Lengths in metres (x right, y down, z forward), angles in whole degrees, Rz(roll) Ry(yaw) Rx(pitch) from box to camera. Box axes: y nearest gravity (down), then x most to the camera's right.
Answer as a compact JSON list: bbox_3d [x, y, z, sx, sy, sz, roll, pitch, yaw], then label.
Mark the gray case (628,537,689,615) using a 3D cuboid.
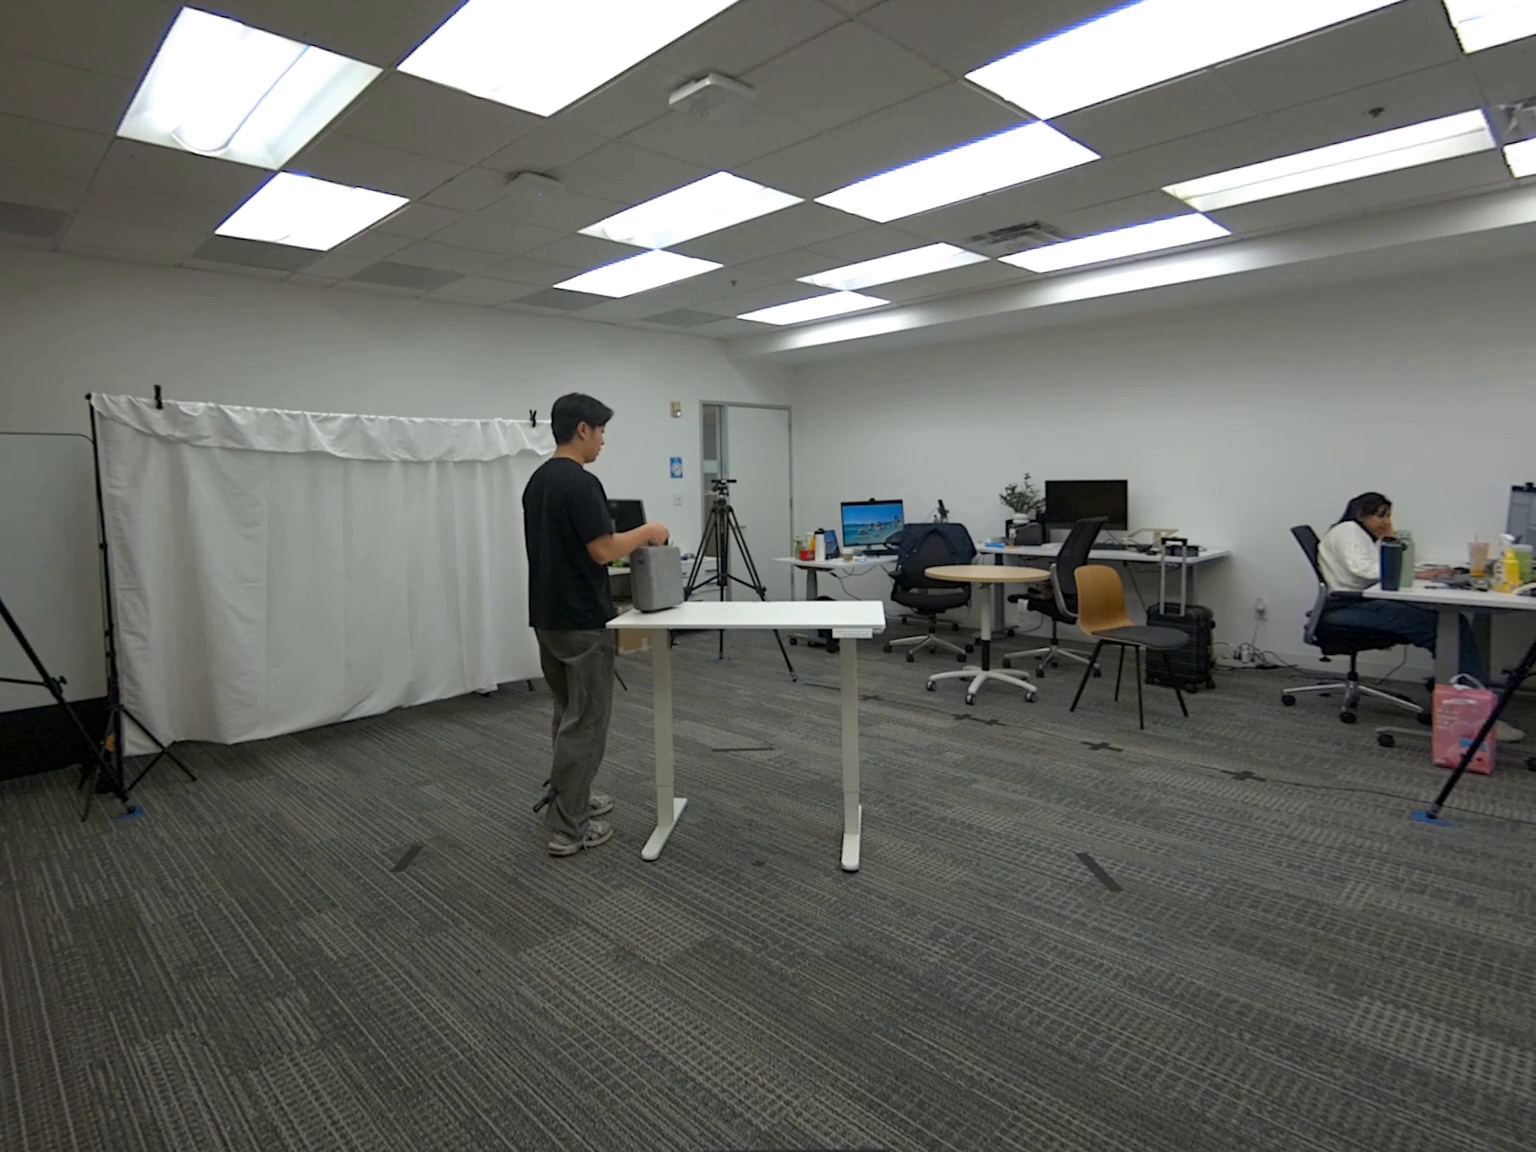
[{"bbox_3d":[-0.440,-0.006,3.437,0.105,0.287,0.257,-3,1,27],"label":"gray case"}]
